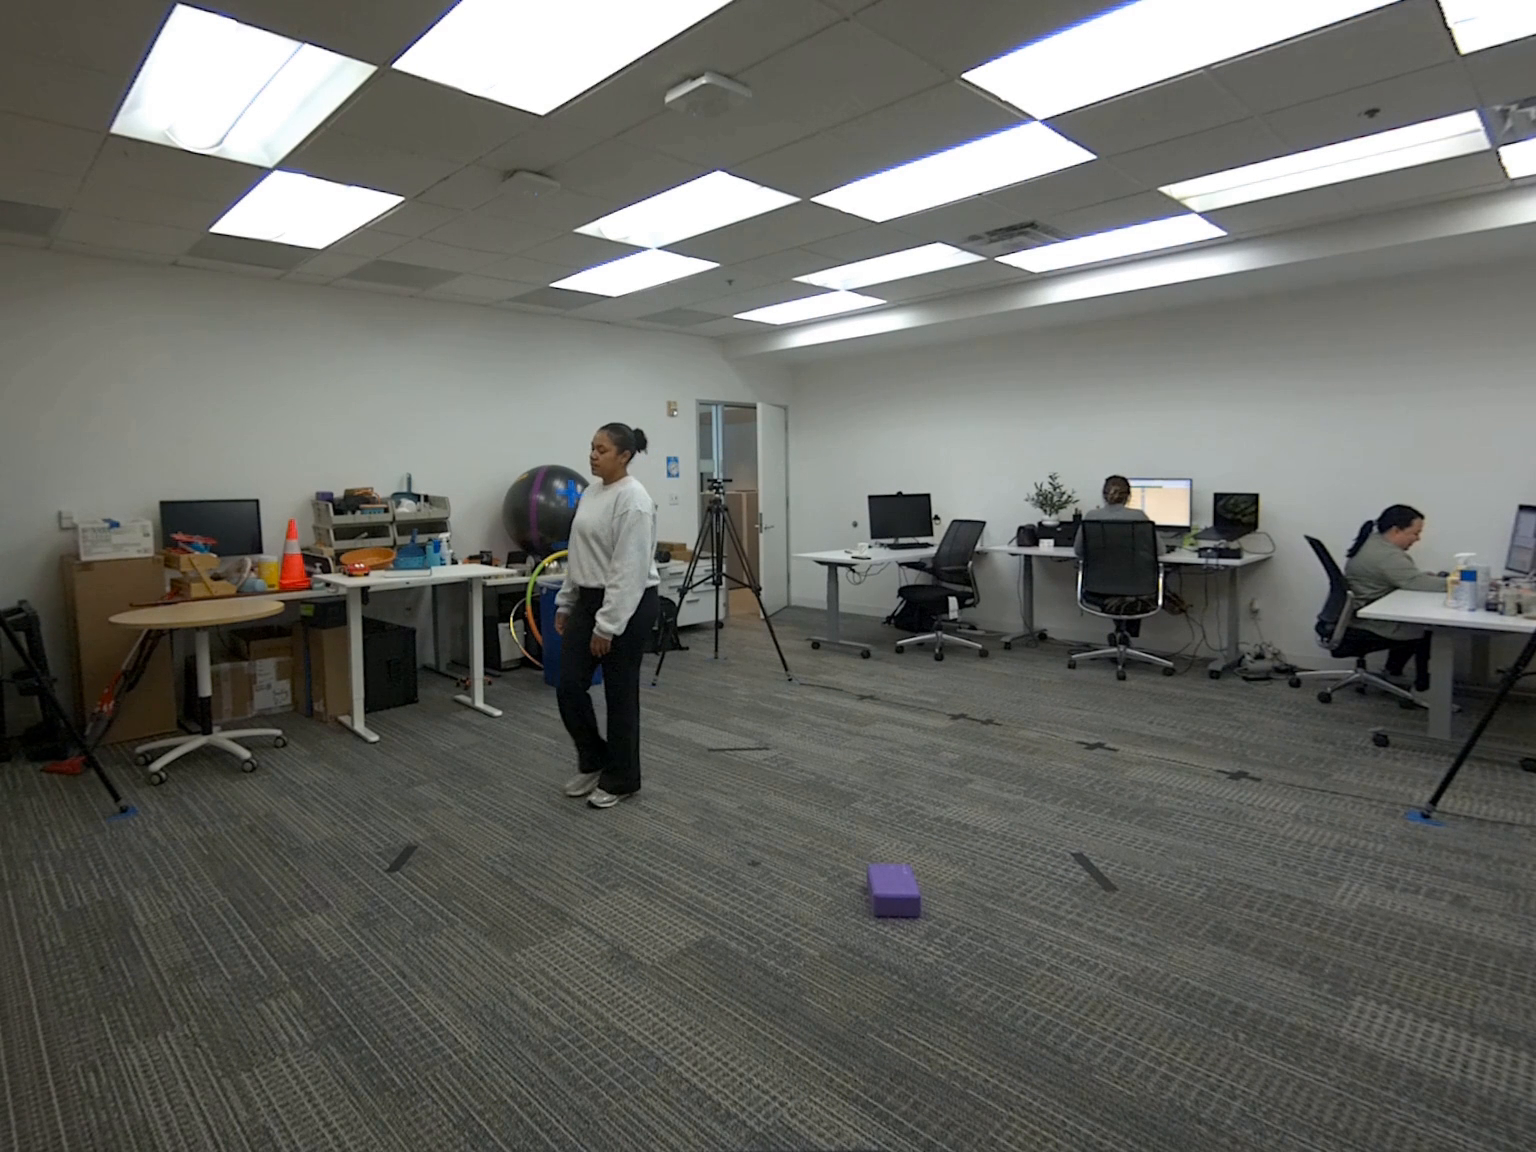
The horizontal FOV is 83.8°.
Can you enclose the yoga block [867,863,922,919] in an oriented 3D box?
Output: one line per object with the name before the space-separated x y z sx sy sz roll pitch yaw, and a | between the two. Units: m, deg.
yoga block | 0.416 1.031 2.810 0.149 0.076 0.230 -2 6 2
